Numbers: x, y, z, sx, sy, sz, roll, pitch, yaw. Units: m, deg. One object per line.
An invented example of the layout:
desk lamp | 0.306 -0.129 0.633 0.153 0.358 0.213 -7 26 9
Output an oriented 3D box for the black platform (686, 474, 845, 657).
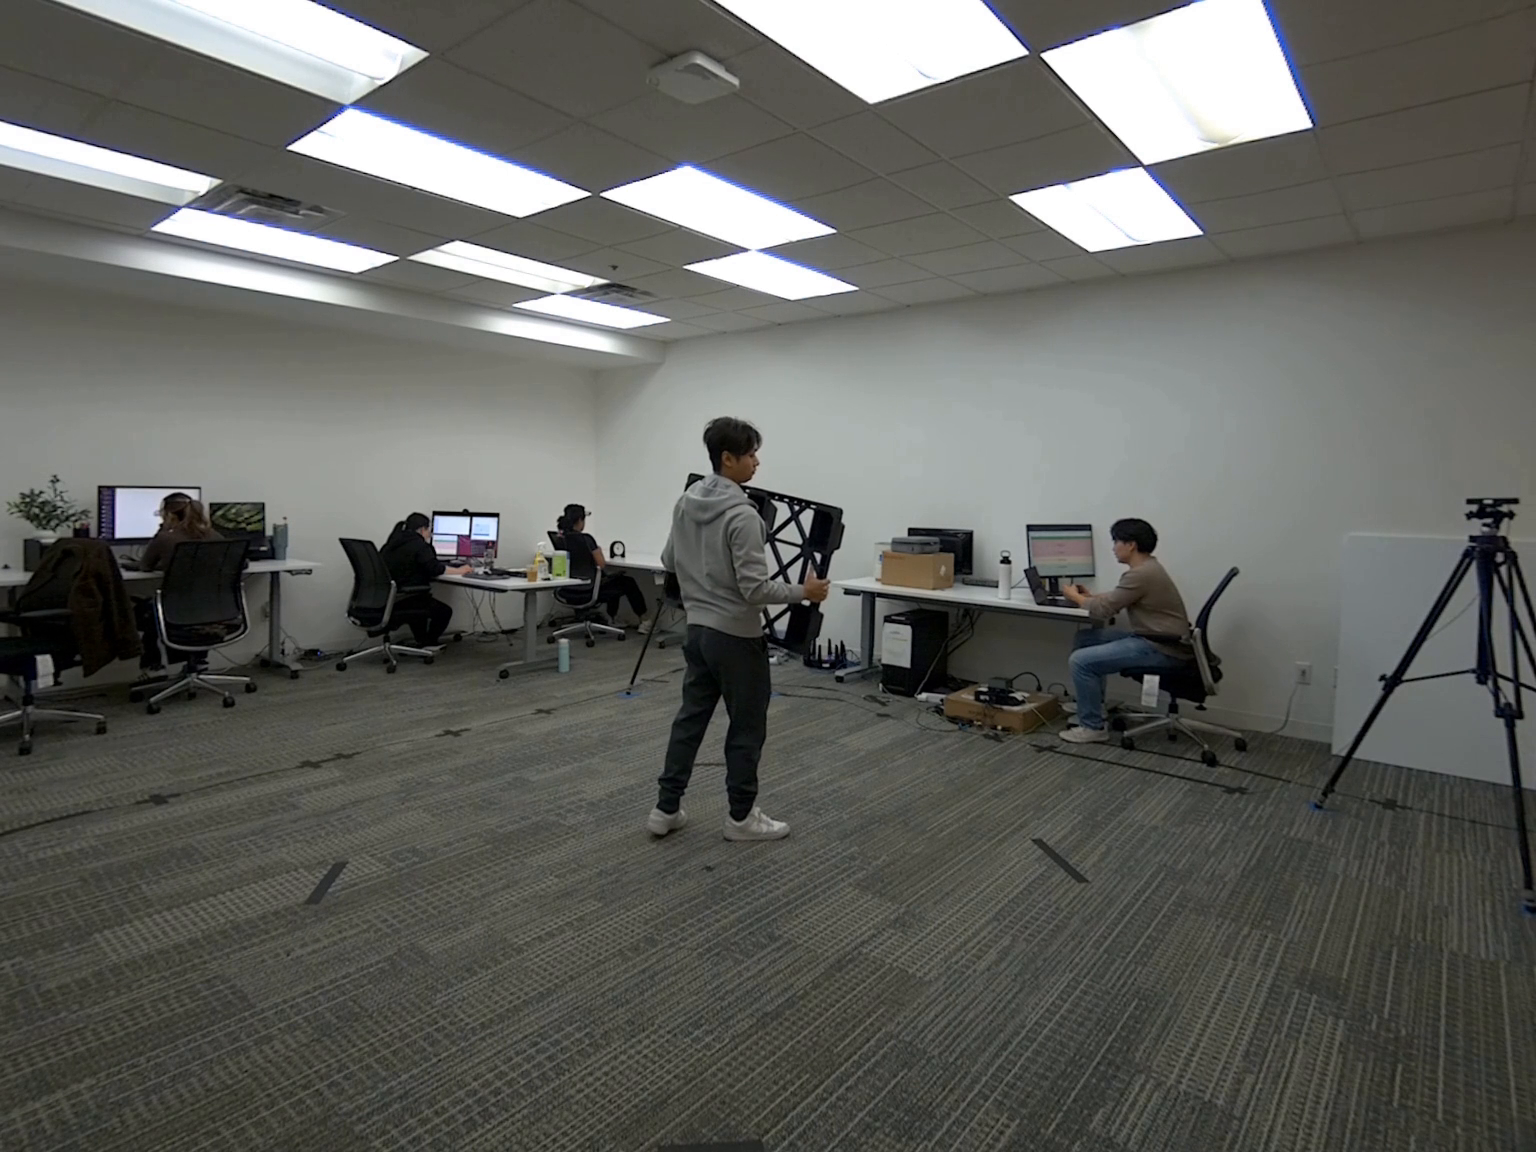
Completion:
black platform | -0.078 -0.070 3.597 0.836 0.603 0.138 17 7 38
